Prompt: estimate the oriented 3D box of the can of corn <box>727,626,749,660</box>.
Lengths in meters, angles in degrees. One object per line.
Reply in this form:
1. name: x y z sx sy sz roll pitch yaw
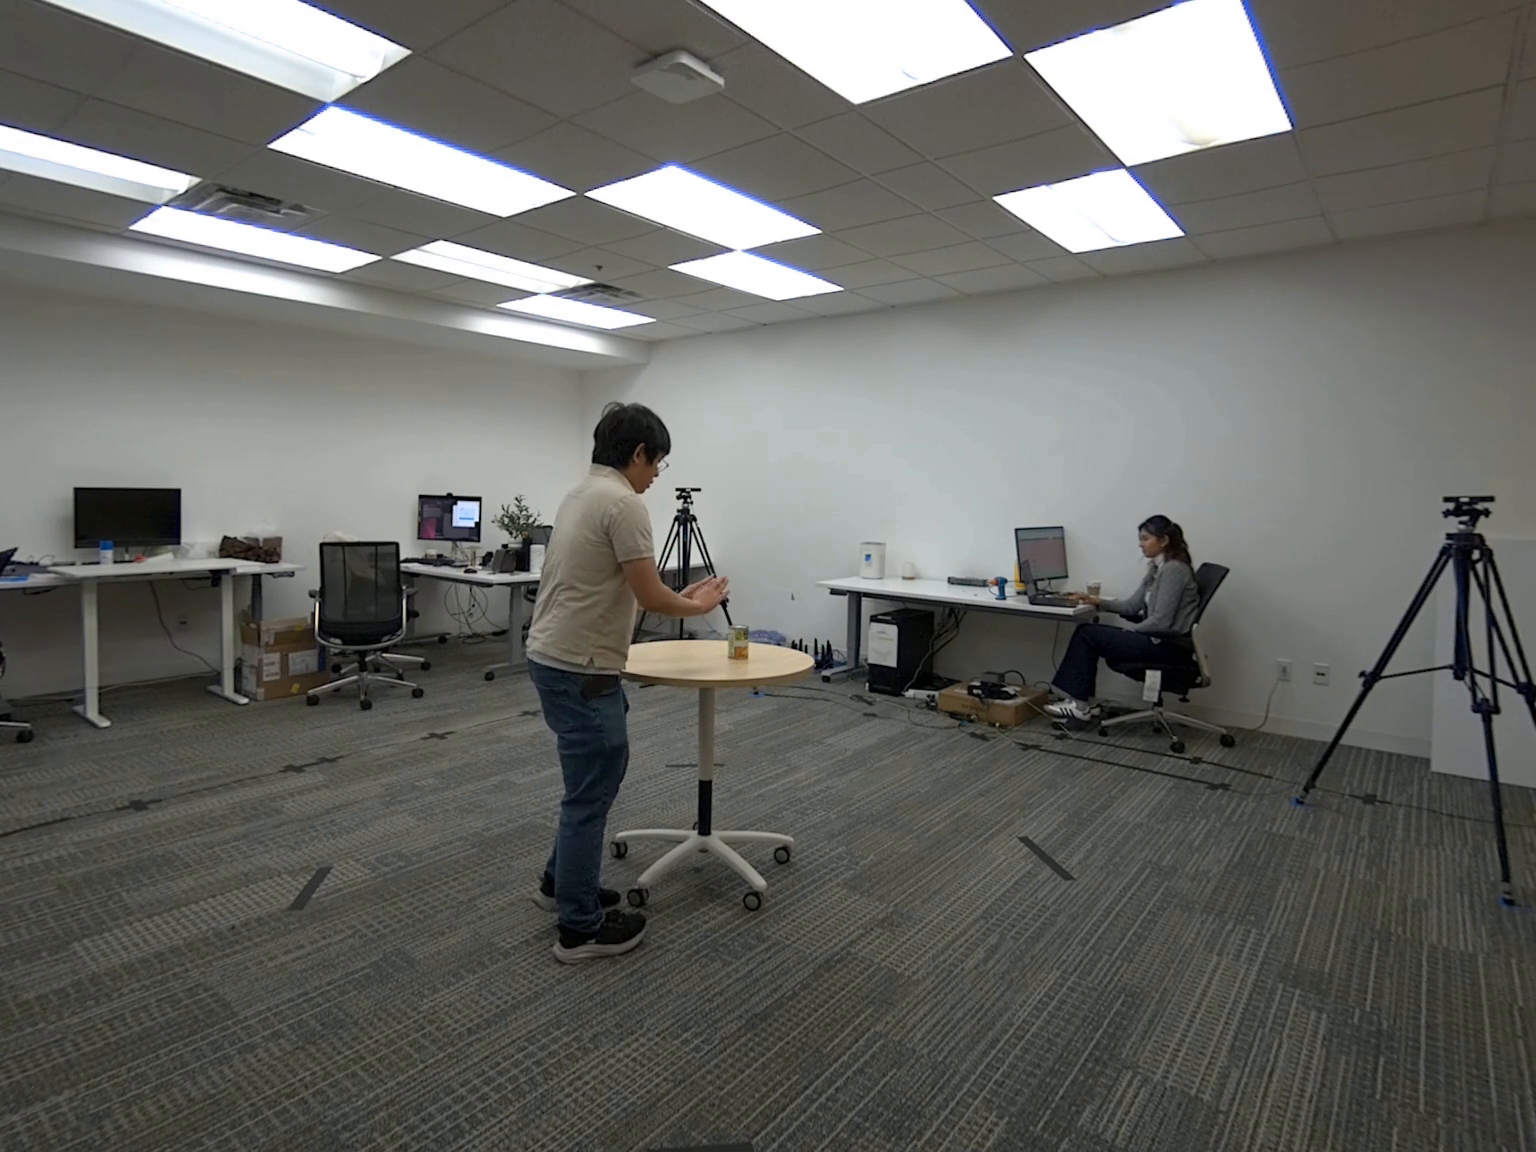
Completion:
1. can of corn: -0.121 0.236 3.059 0.074 0.111 0.074 2 2 -2
